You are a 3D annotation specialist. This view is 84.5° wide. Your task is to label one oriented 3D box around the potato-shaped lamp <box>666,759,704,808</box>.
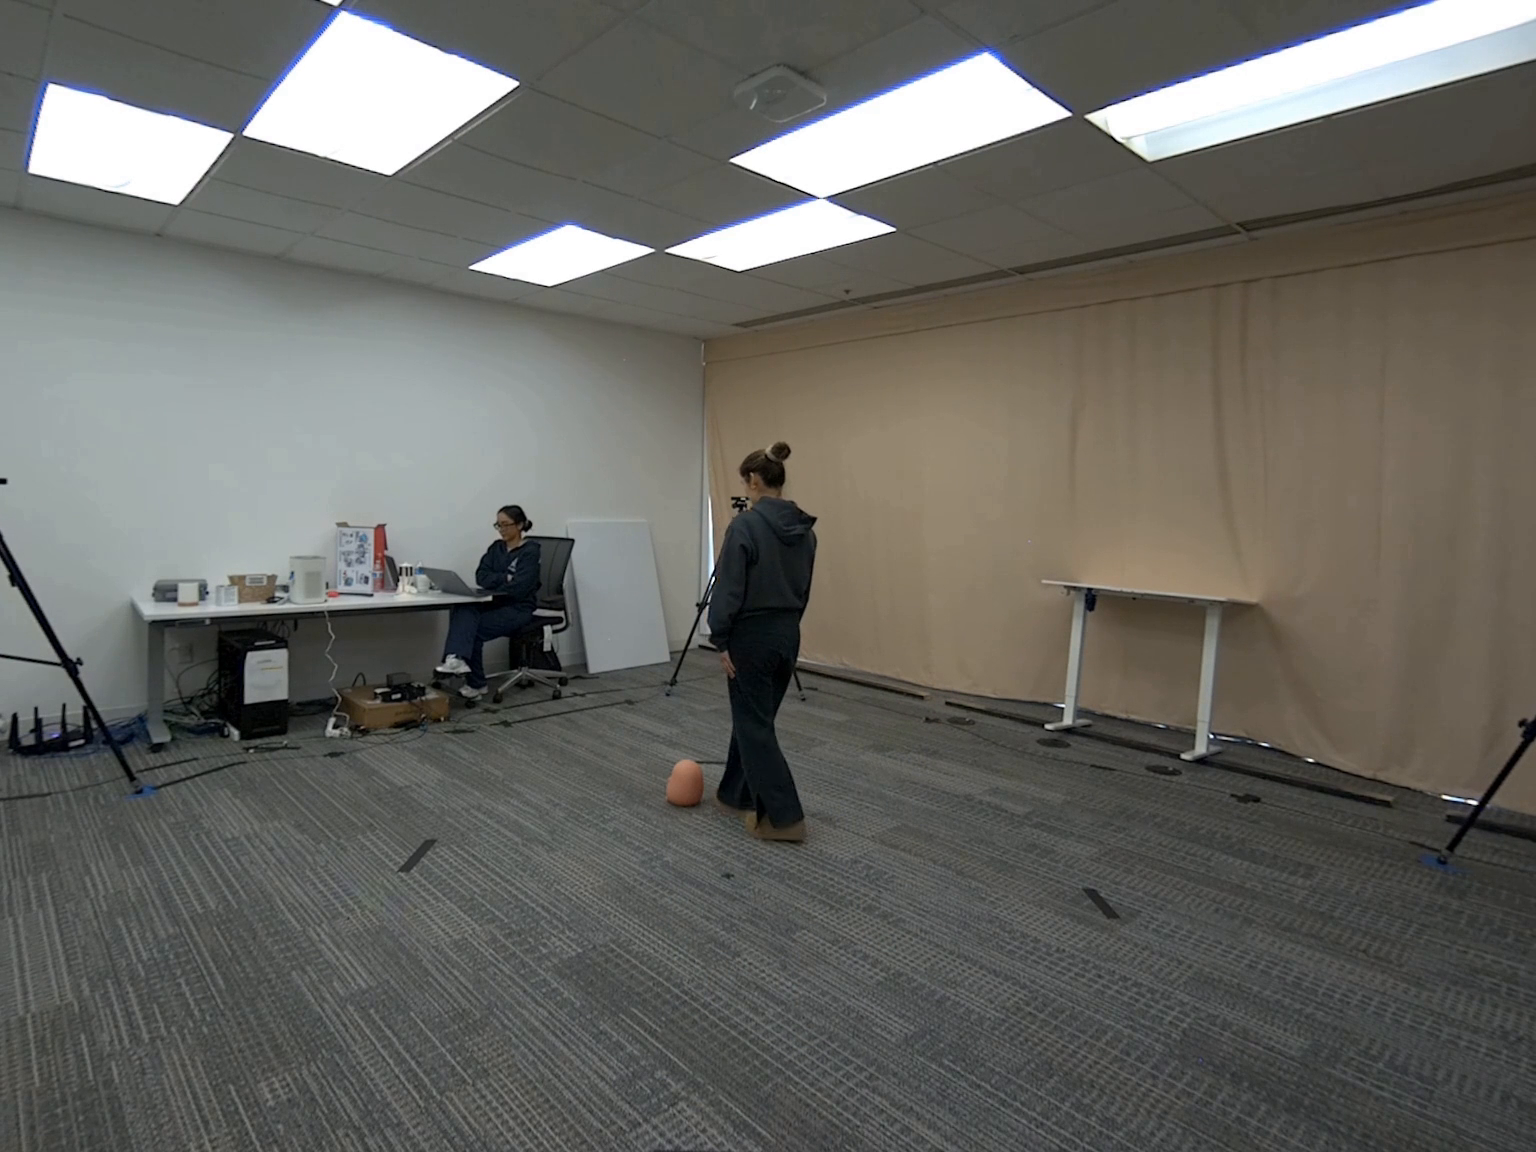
[{"bbox_3d":[-0.388,0.929,3.855,0.161,0.198,0.176,-1,4,-44],"label":"potato-shaped lamp"}]
